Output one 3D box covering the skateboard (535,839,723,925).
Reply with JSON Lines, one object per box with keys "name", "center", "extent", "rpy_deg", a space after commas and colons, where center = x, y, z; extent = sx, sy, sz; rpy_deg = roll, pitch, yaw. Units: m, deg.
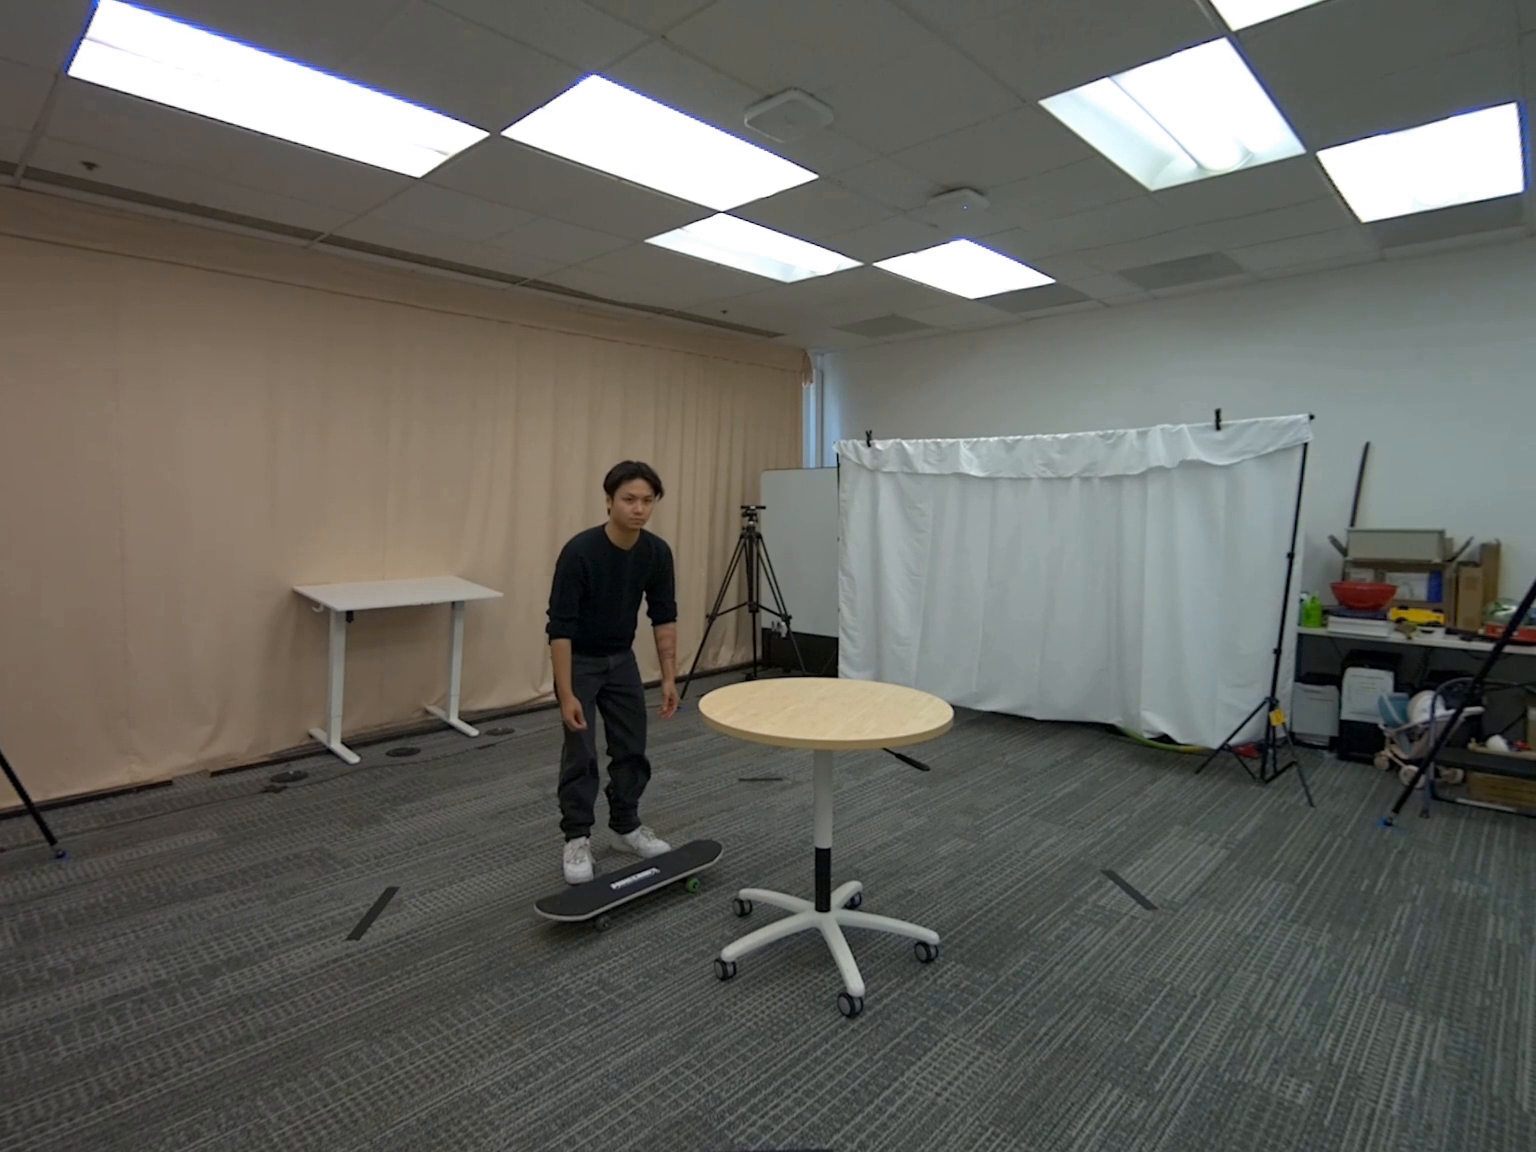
{"name": "skateboard", "center": [-0.470, 1.097, 2.955], "extent": [0.200, 0.110, 0.761], "rpy_deg": [4, 6, 45]}
